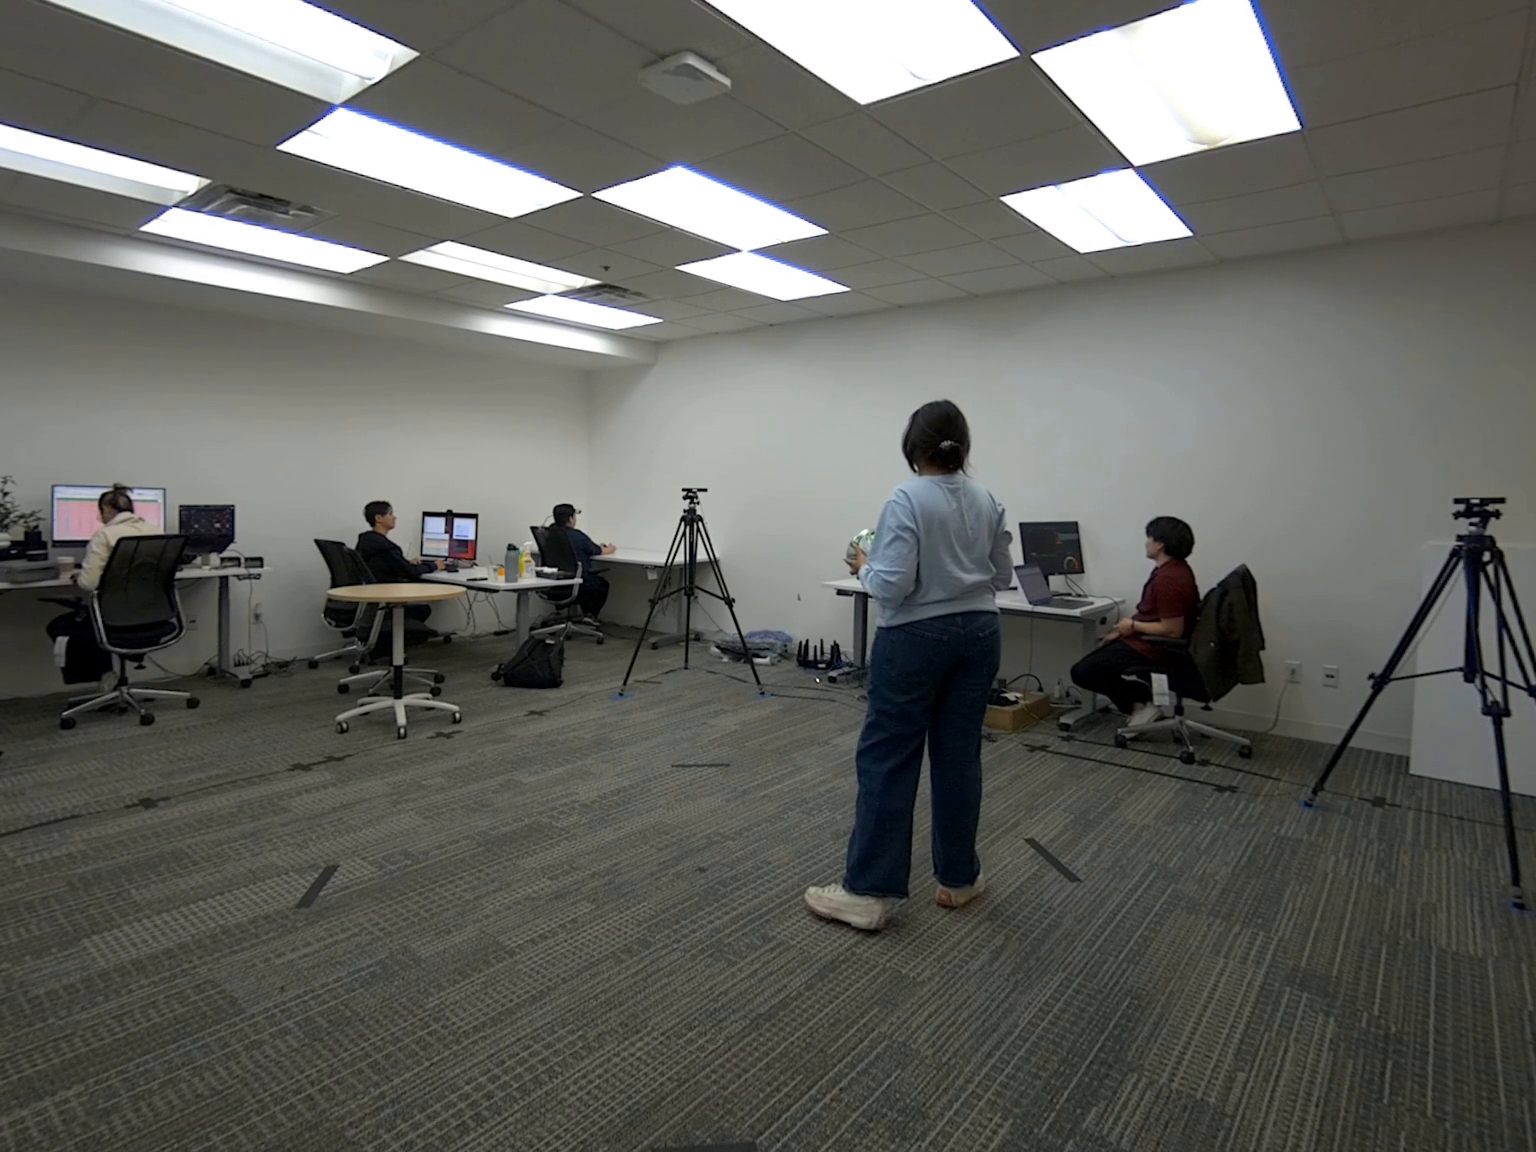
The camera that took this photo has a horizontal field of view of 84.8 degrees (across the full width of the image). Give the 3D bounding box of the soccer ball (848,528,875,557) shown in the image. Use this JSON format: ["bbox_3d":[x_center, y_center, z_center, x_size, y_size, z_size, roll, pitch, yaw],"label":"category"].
[{"bbox_3d":[0.364,-0.081,3.063,0.187,0.187,0.188,1,4,-2],"label":"soccer ball"}]
